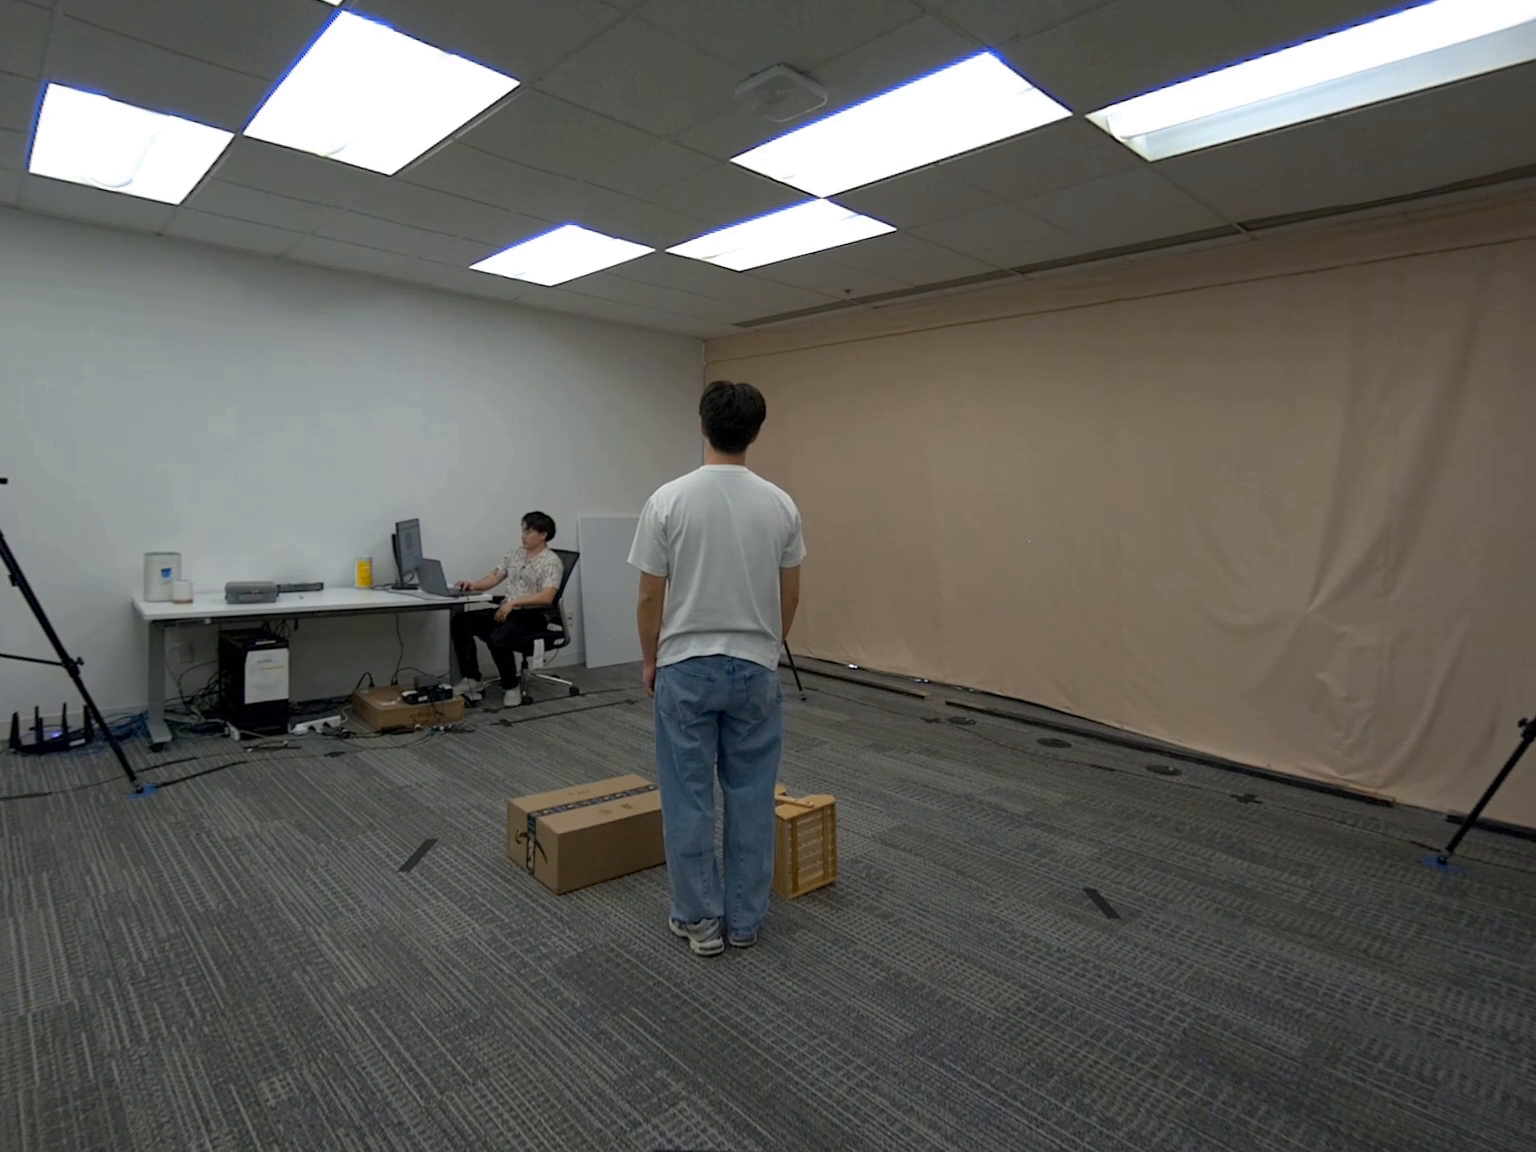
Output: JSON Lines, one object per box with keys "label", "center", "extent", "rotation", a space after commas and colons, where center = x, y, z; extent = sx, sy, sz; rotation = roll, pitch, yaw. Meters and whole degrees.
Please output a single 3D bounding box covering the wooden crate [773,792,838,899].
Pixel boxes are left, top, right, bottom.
{"label": "wooden crate", "center": [0.053, 0.948, 3.058], "extent": [0.296, 0.322, 0.281], "rotation": [-8, 13, -35]}
